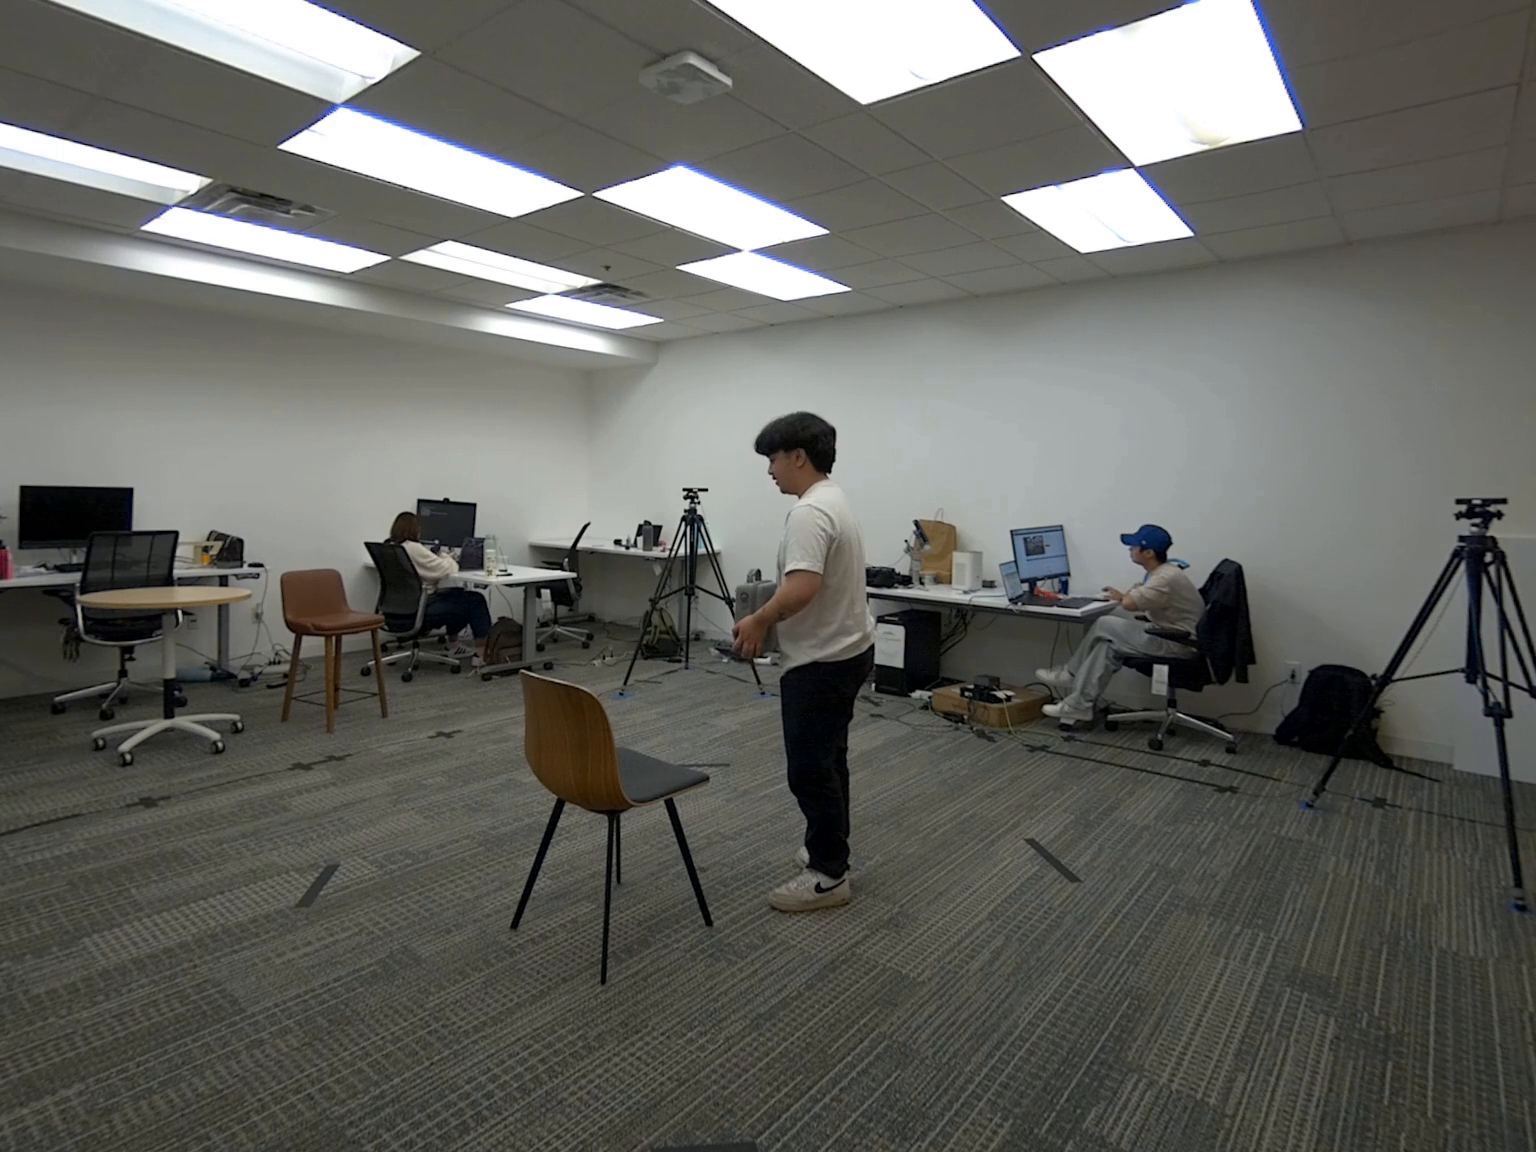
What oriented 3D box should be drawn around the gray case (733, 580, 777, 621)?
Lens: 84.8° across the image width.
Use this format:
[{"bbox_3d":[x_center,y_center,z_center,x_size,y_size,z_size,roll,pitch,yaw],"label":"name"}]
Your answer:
[{"bbox_3d":[-0.051,0.138,3.014,0.106,0.261,0.251,-1,-1,17],"label":"gray case"}]
